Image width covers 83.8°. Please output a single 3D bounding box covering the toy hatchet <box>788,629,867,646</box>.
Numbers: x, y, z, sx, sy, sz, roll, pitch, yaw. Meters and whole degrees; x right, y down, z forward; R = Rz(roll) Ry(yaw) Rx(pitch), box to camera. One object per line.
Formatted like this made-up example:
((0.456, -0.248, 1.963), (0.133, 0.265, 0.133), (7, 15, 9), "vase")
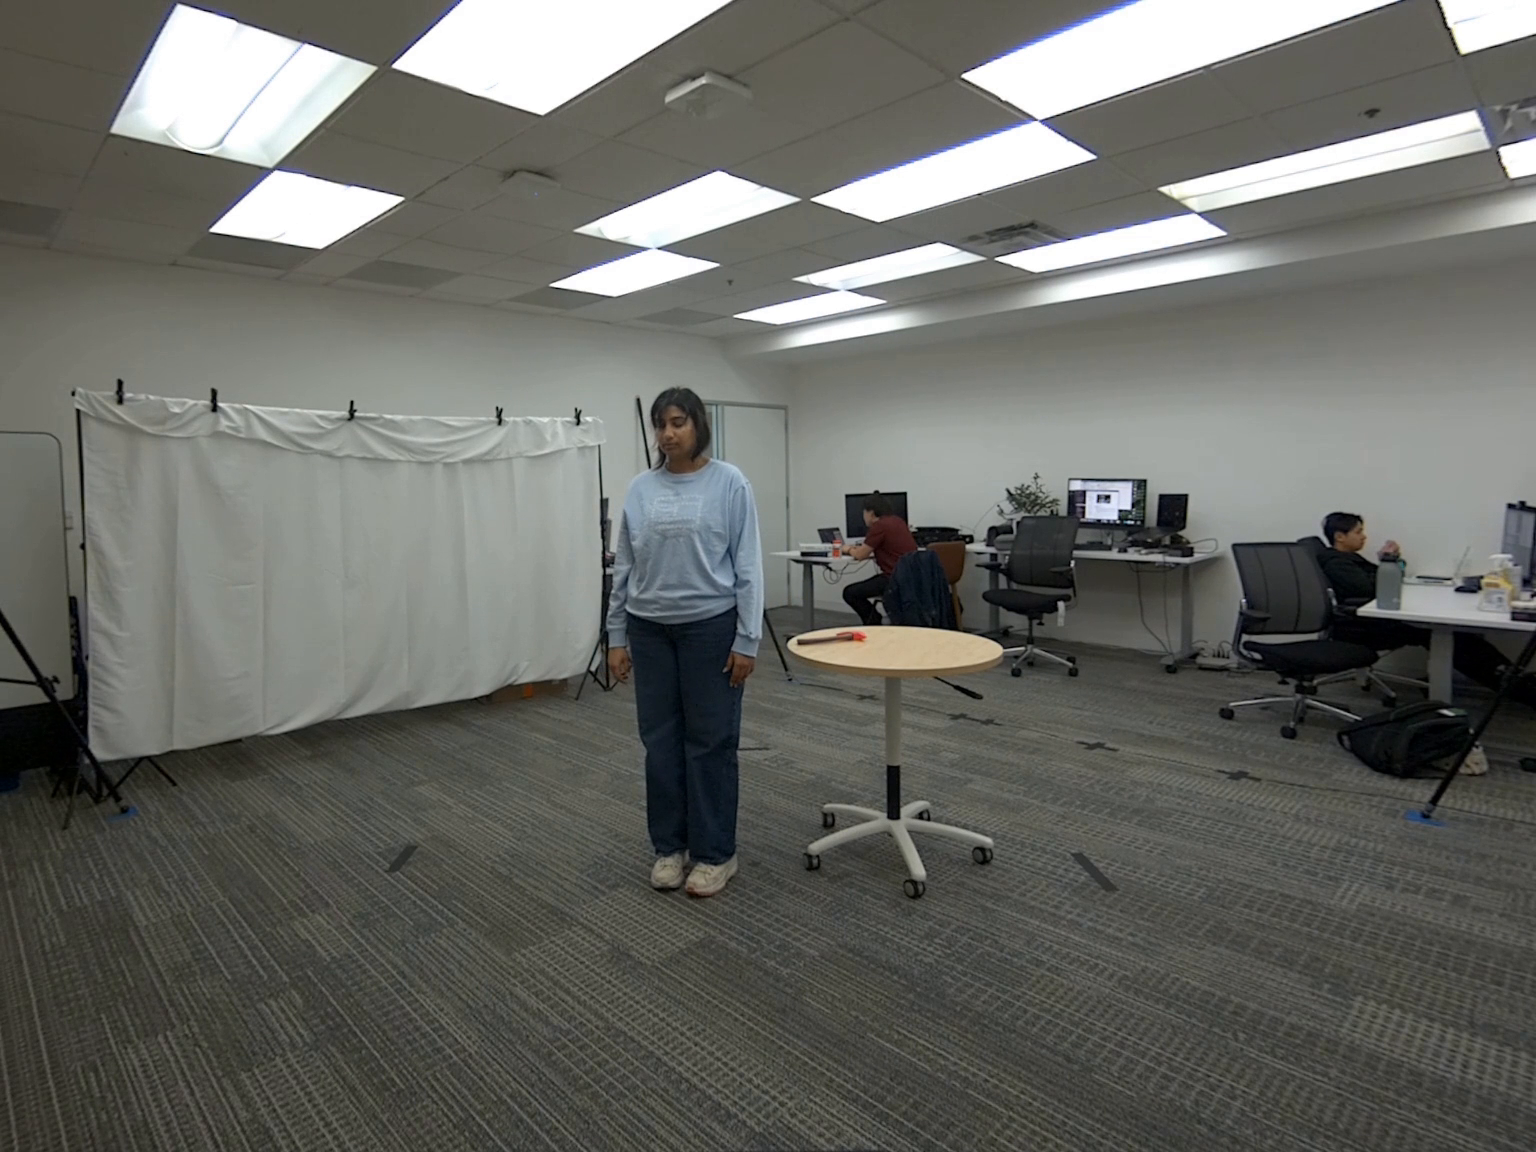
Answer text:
((0.225, 0.229, 3.221), (0.268, 0.029, 0.133), (-3, 7, -8), "toy hatchet")
